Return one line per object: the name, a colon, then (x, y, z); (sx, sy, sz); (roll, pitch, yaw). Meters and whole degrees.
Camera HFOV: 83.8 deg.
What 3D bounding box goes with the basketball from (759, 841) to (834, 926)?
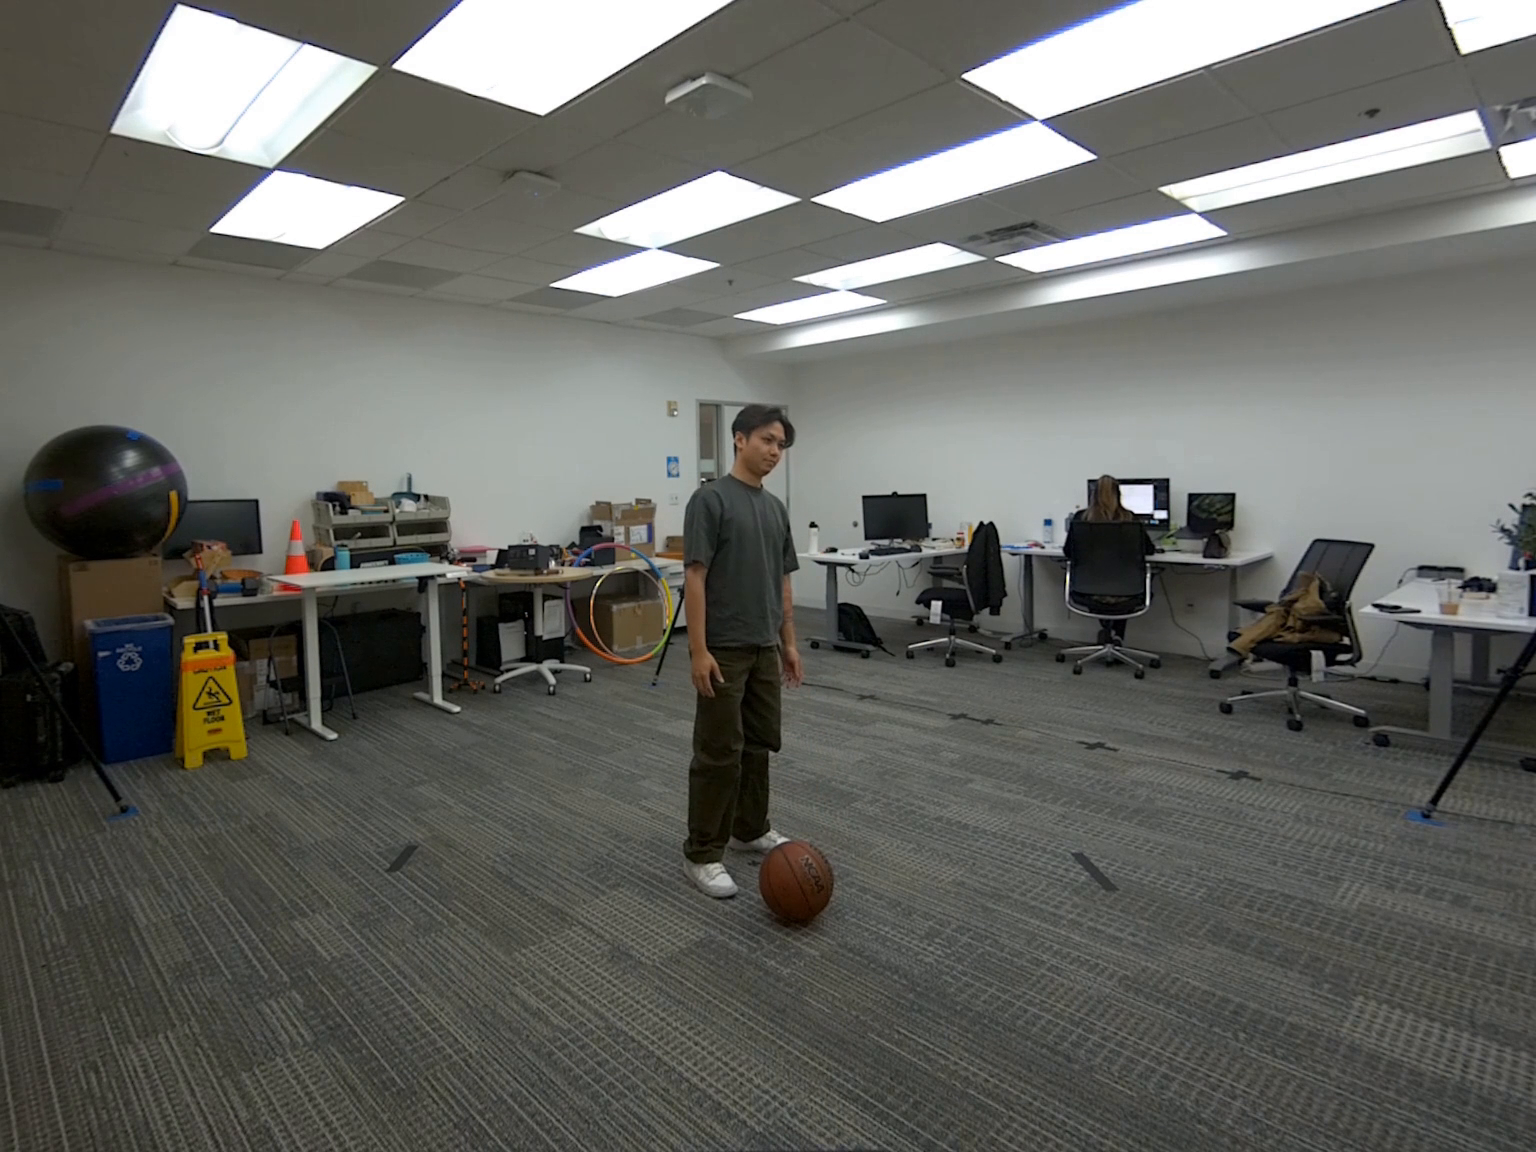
basketball: (0.094, 0.960, 2.720); (0.236, 0.235, 0.237); (-1, 5, -2)
